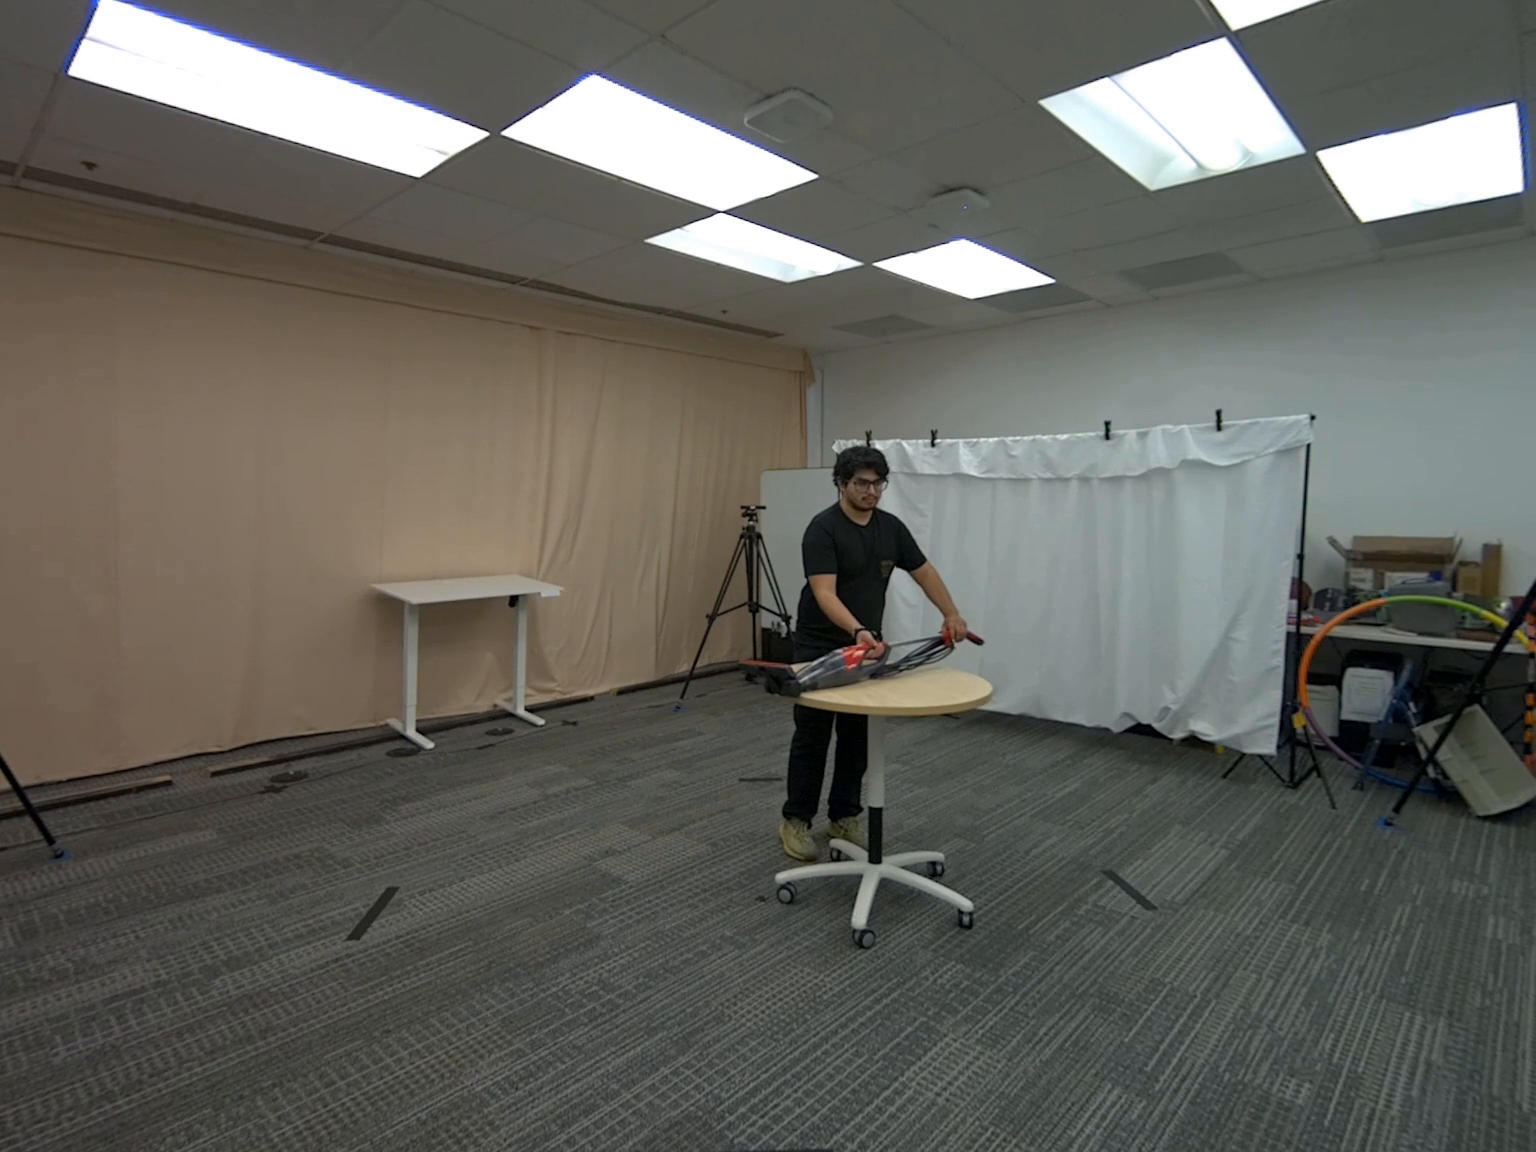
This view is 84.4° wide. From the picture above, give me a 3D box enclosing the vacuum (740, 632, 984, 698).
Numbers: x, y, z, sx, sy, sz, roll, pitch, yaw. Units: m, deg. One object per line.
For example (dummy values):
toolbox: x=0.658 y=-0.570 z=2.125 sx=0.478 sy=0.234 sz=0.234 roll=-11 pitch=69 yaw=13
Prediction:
vacuum: x=0.426 y=0.303 z=2.989 sx=1.019 sy=0.143 sz=0.261 roll=-5 pitch=6 yaw=-36
